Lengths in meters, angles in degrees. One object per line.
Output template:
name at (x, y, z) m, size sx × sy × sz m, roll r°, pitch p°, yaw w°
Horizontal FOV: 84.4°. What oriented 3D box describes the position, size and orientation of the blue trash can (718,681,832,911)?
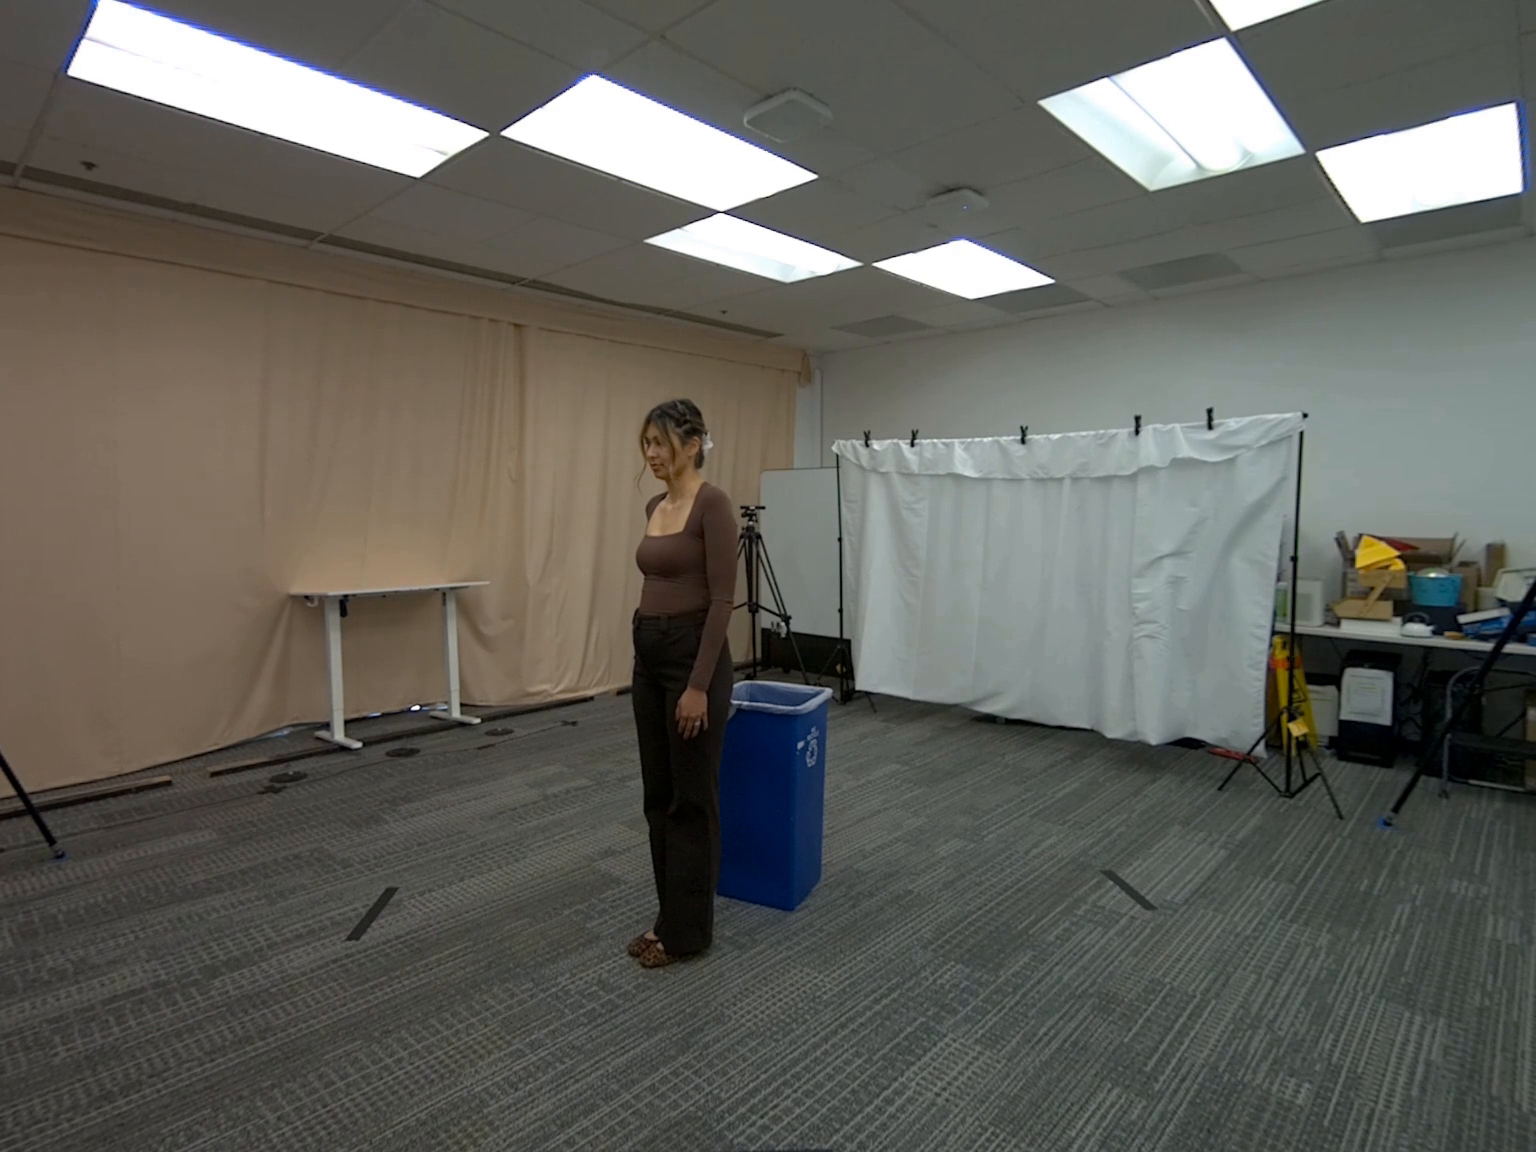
blue trash can at (0.005, 0.777, 3.062) m, size 0.384 × 0.712 × 0.369 m, roll 3°, pitch 4°, yaw 24°
